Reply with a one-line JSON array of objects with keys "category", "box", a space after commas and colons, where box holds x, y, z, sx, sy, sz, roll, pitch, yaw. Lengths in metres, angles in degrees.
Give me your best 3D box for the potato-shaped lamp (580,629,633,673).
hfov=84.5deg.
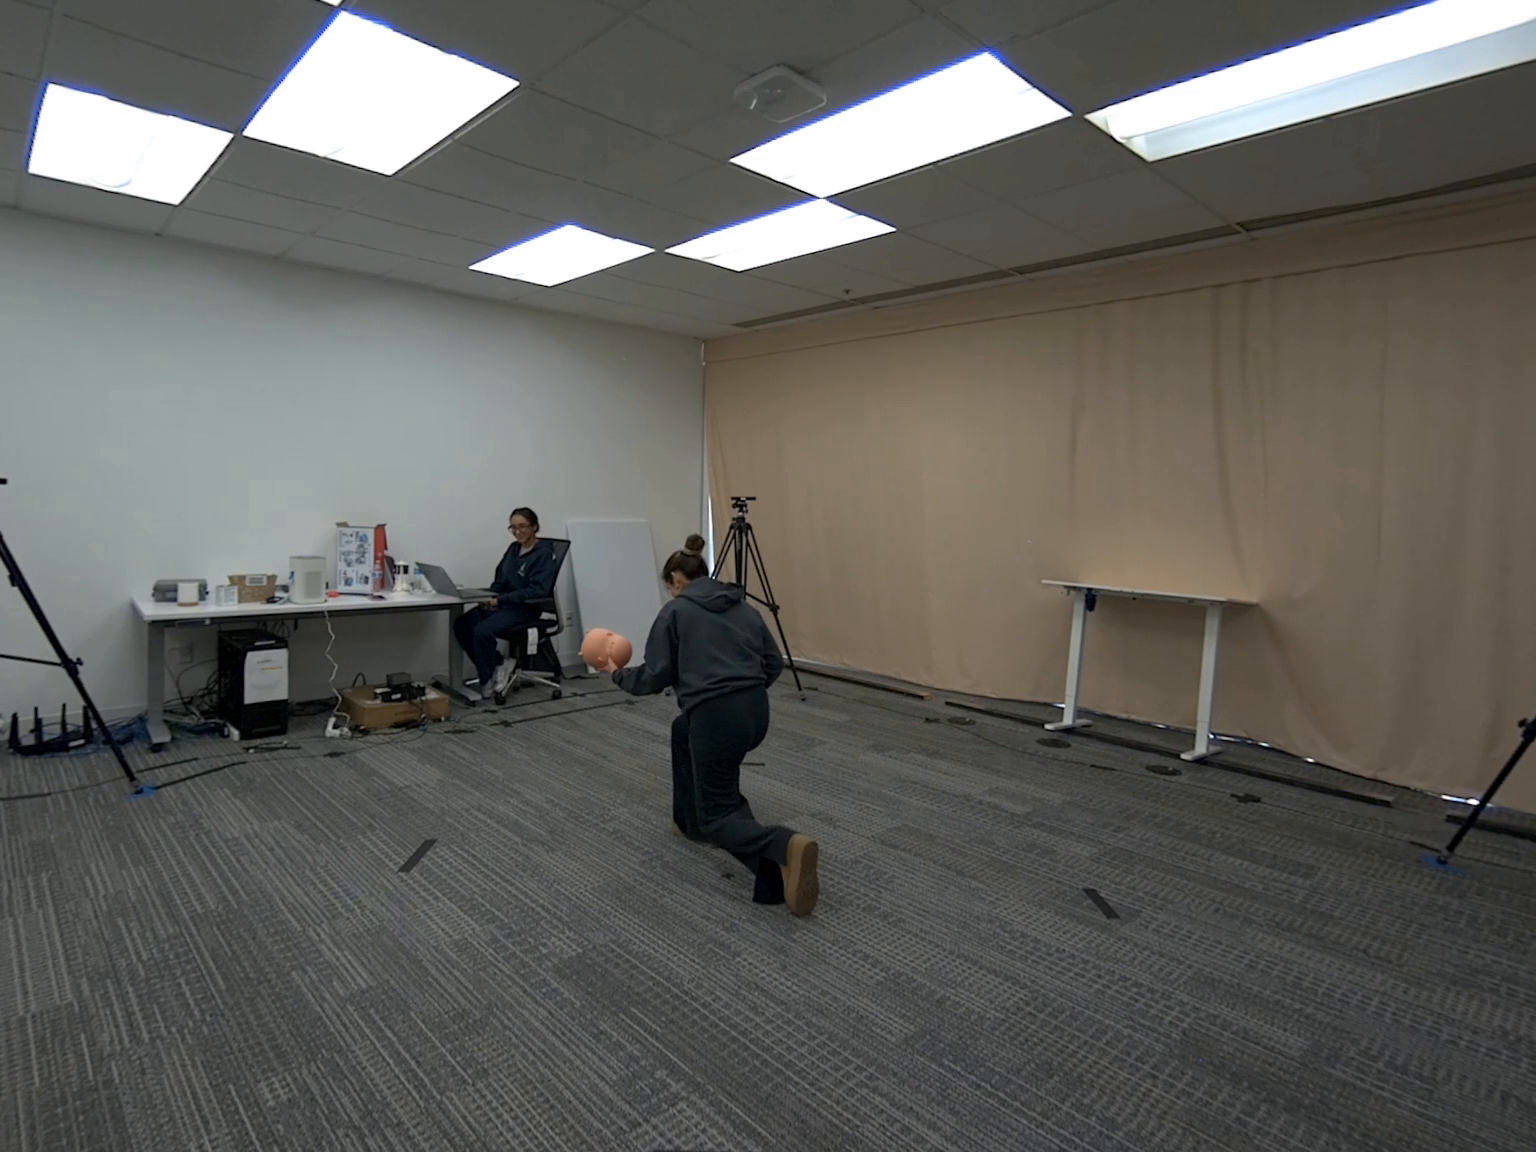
[{"category": "potato-shaped lamp", "box": [-0.669, 0.302, 3.500, 0.202, 0.166, 0.166, 5, -26, 22]}]
